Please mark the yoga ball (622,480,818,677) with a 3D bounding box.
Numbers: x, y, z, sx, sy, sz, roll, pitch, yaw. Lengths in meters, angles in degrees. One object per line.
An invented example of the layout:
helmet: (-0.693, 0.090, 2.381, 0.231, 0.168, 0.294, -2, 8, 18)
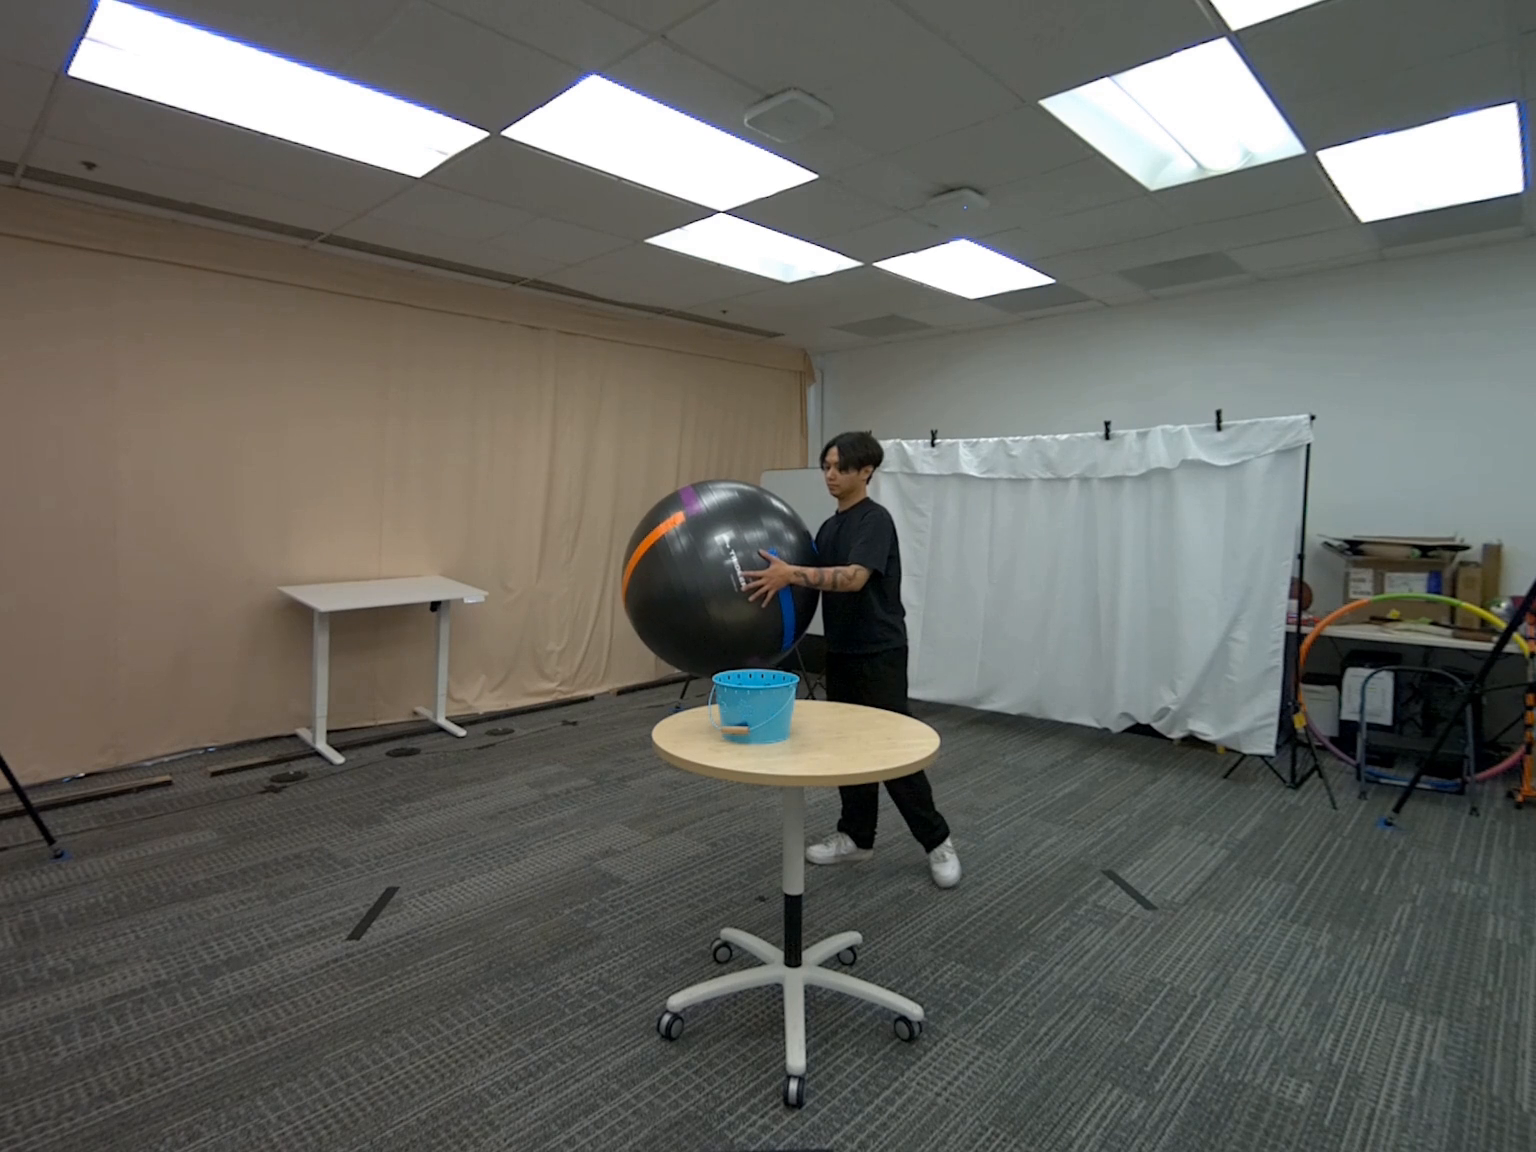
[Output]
yoga ball: (-0.179, 0.018, 3.227, 0.757, 0.756, 0.760, 0, 4, -2)
